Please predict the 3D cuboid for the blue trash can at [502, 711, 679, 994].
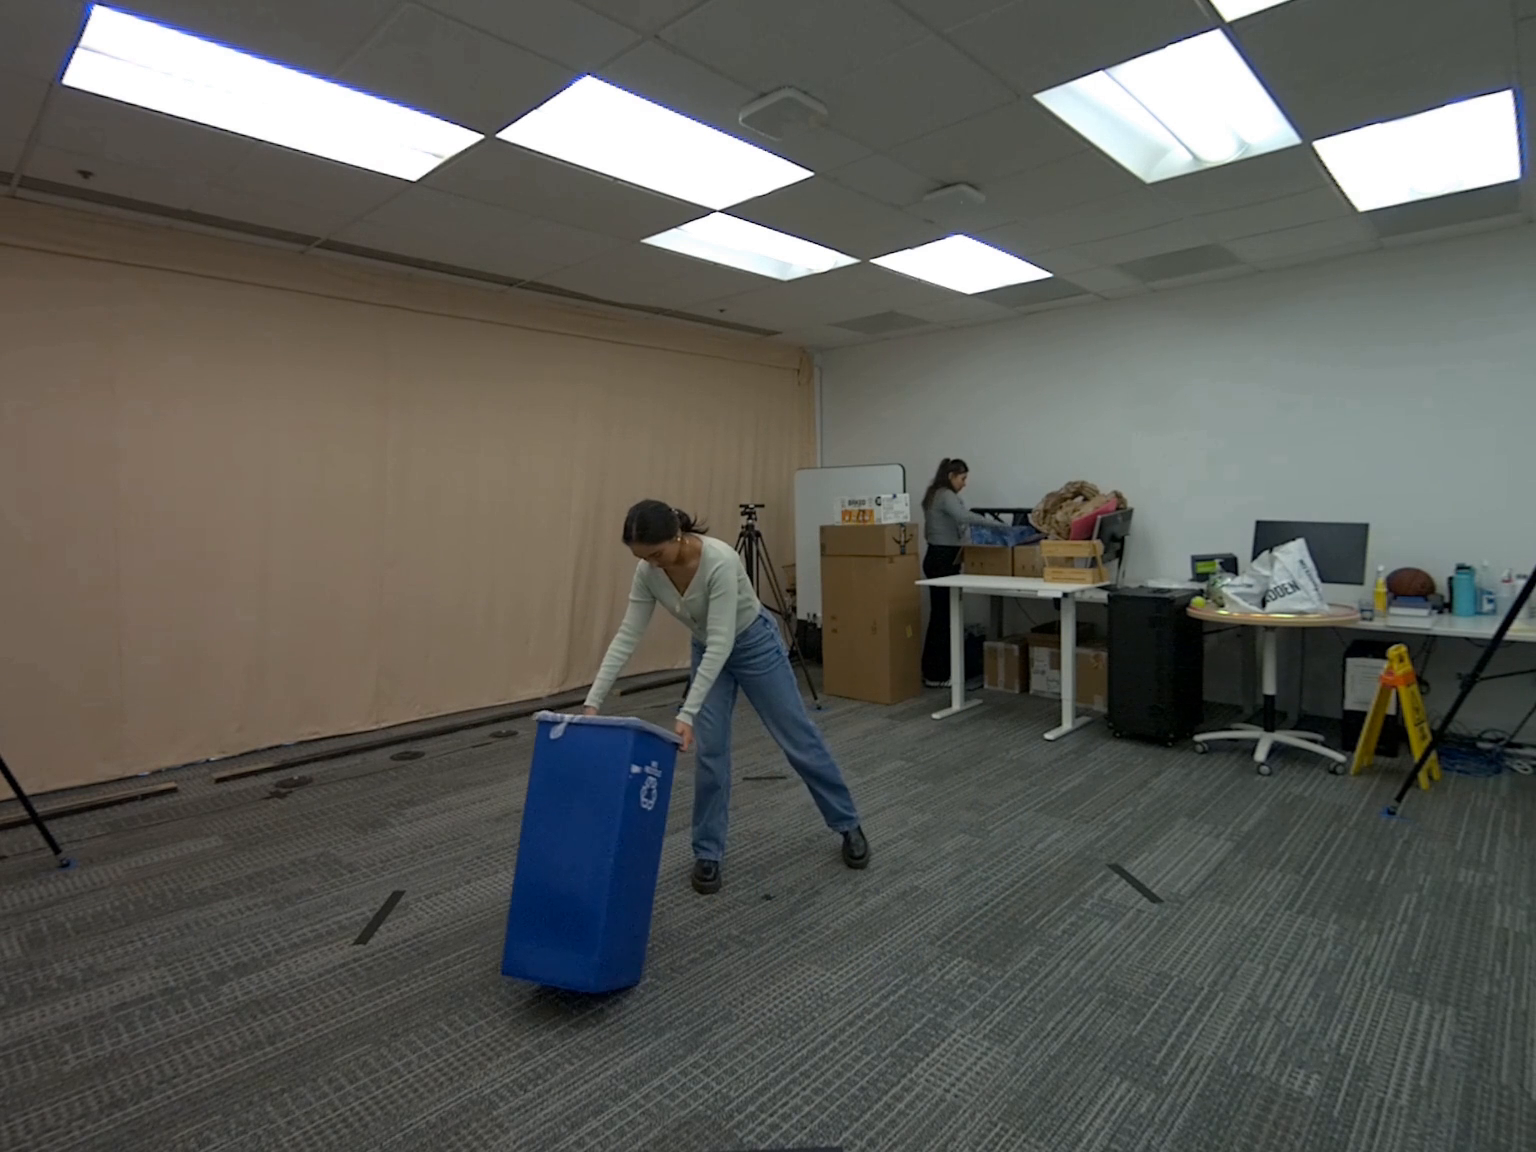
[{"bbox_3d":[-0.518,0.808,2.514,0.386,0.720,0.363,-1,-20,19],"label":"blue trash can"}]
